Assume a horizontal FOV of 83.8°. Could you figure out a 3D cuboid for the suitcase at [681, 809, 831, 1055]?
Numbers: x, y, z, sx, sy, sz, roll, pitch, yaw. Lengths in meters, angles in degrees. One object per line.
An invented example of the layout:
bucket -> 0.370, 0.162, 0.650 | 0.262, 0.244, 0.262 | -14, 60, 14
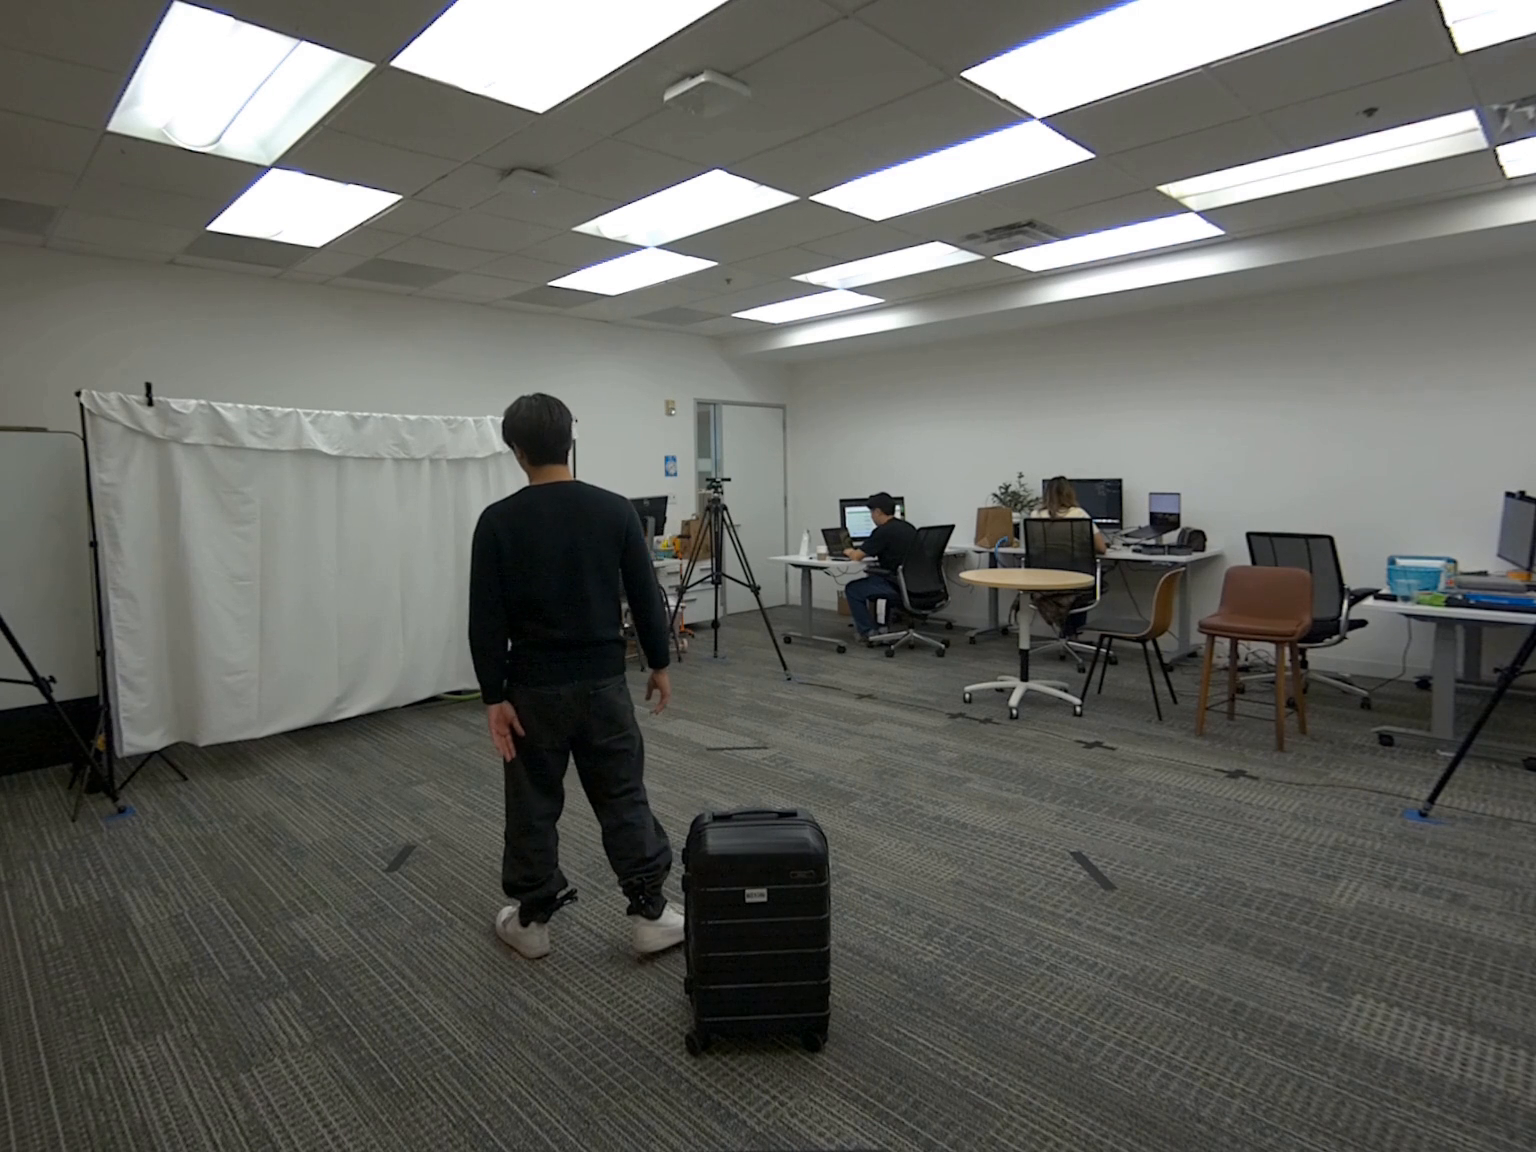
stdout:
suitcase -> -0.018, 0.880, 2.157 | 0.375, 0.547, 0.250 | -1, 5, -2
